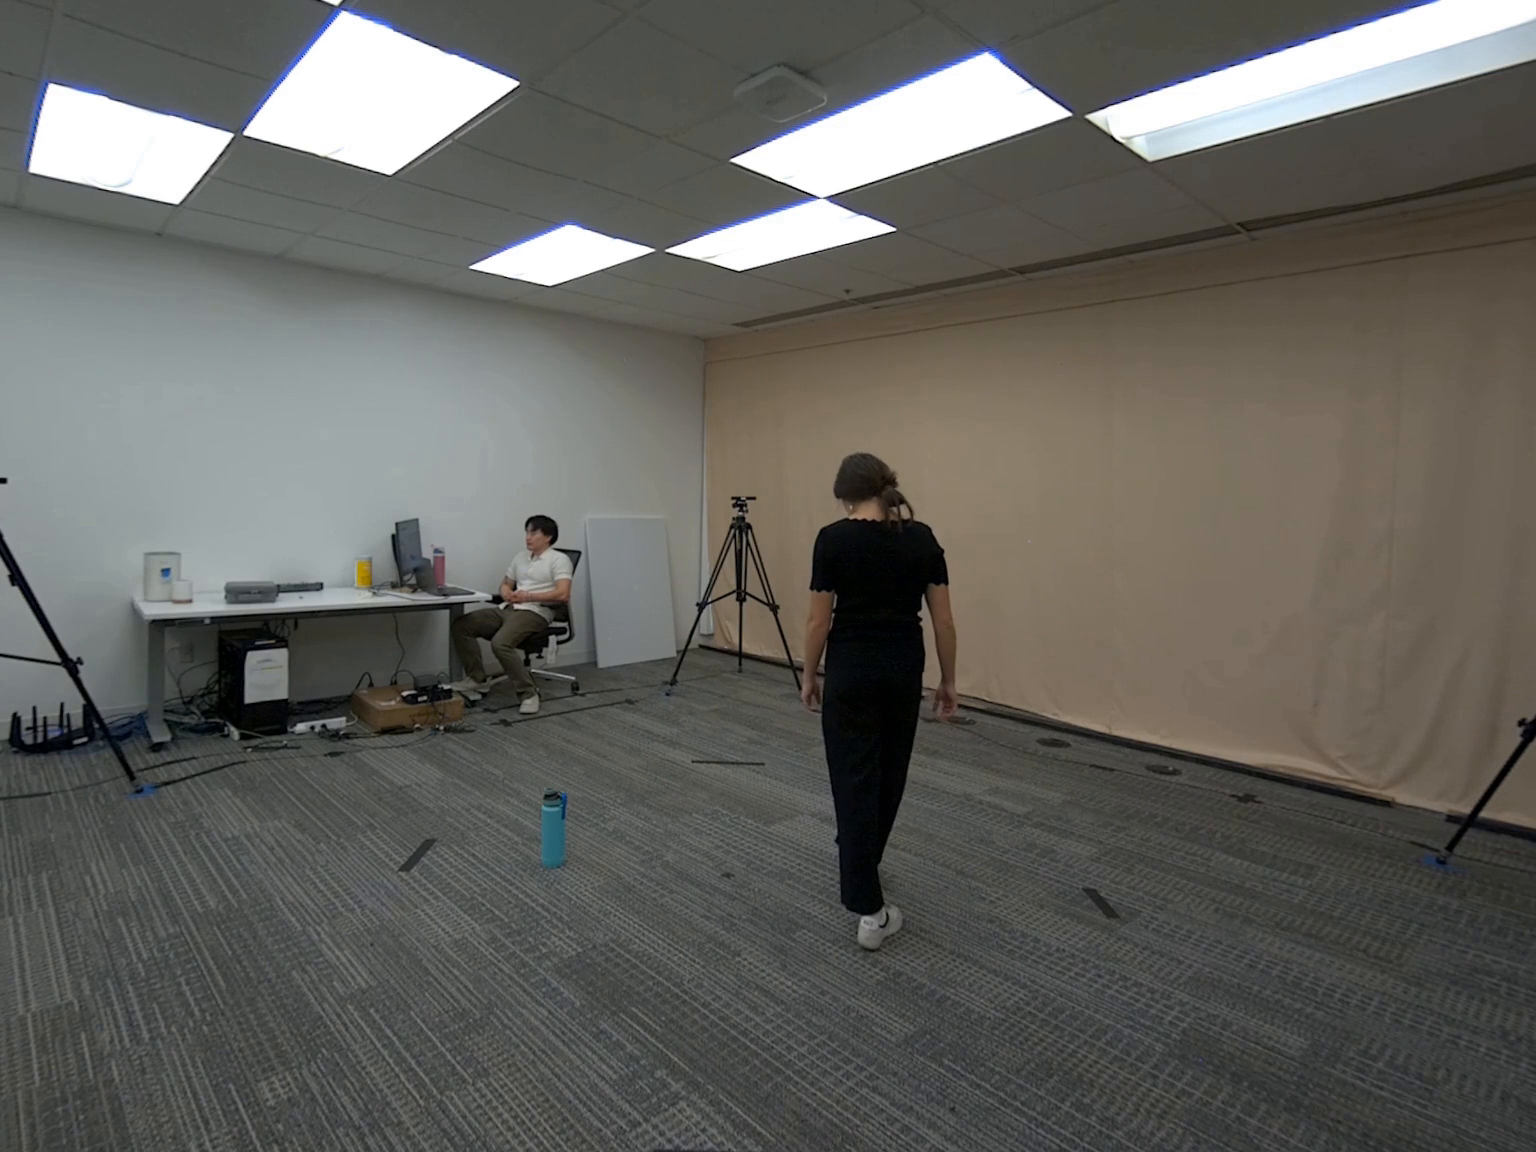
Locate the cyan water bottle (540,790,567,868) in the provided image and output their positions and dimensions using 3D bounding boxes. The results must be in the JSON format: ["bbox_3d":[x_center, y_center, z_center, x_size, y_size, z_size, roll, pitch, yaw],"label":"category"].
[{"bbox_3d":[-0.812,0.940,3.173,0.092,0.282,0.093,2,4,-2],"label":"cyan water bottle"}]
